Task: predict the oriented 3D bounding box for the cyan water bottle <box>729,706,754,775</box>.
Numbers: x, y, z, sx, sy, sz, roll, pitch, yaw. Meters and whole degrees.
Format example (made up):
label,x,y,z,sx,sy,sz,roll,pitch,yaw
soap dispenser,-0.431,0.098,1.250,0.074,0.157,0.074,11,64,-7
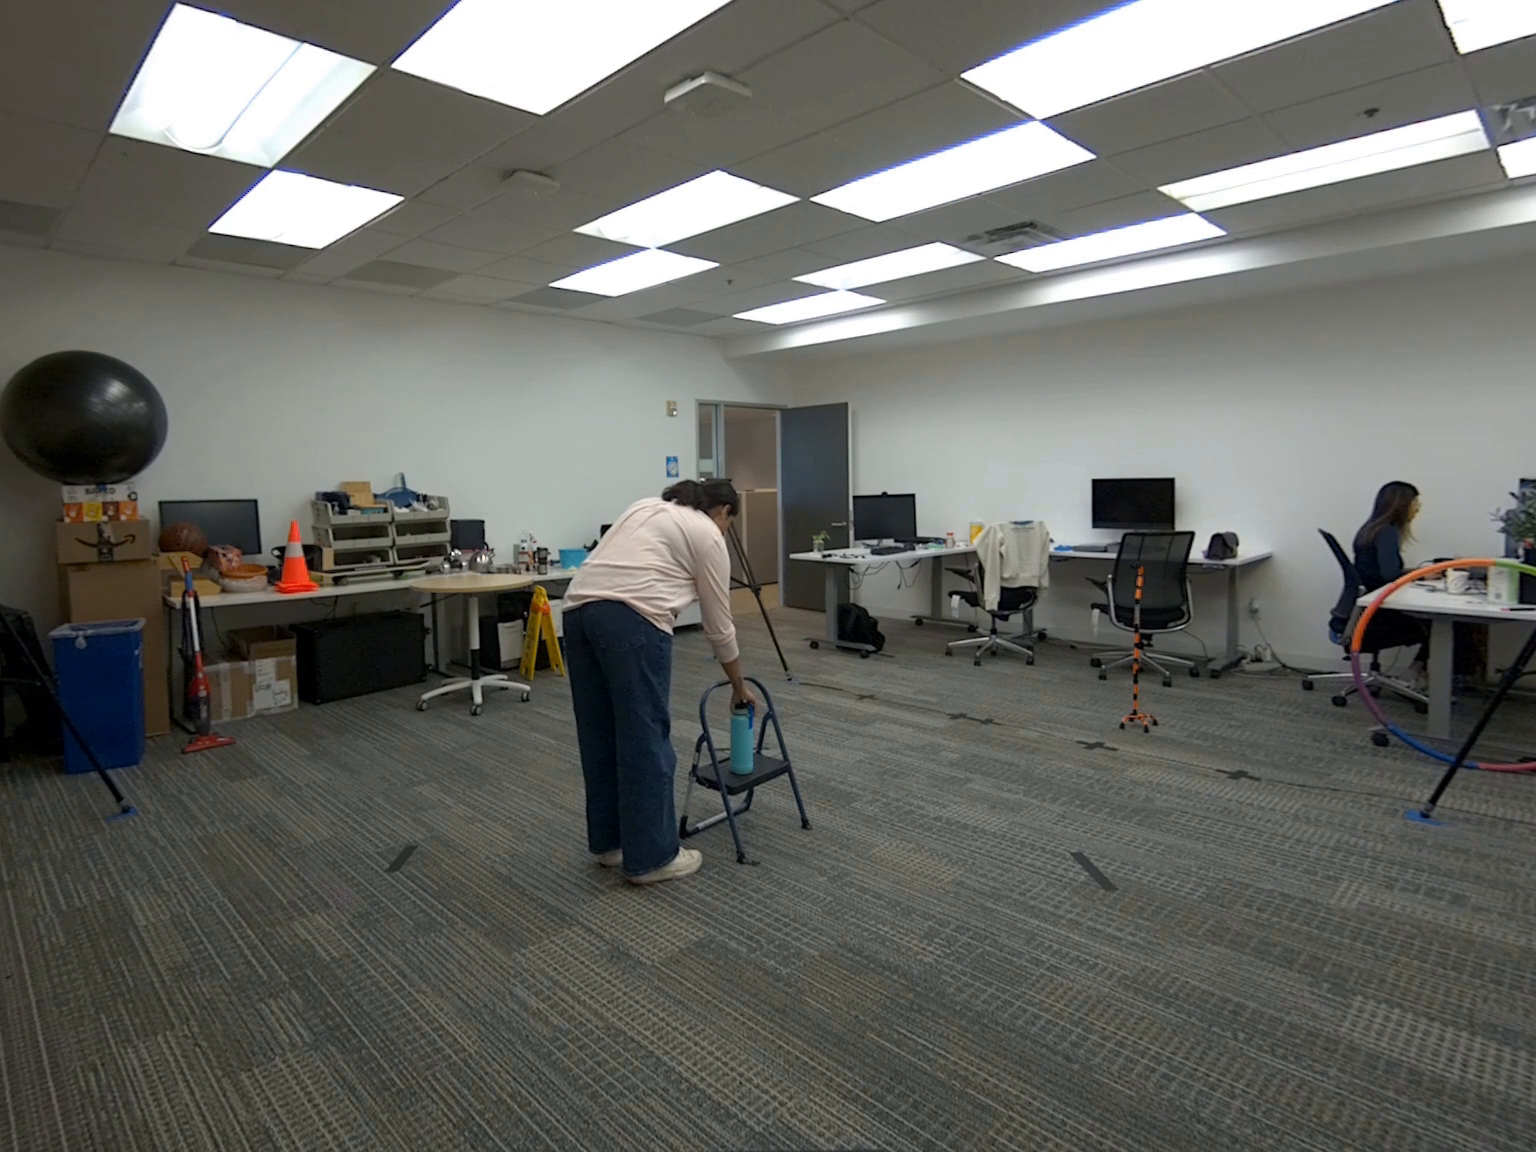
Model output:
label,x,y,z,sx,sy,sz,roll,pitch,yaw
cyan water bottle,-0.101,0.614,3.310,0.092,0.281,0.093,2,7,-2
